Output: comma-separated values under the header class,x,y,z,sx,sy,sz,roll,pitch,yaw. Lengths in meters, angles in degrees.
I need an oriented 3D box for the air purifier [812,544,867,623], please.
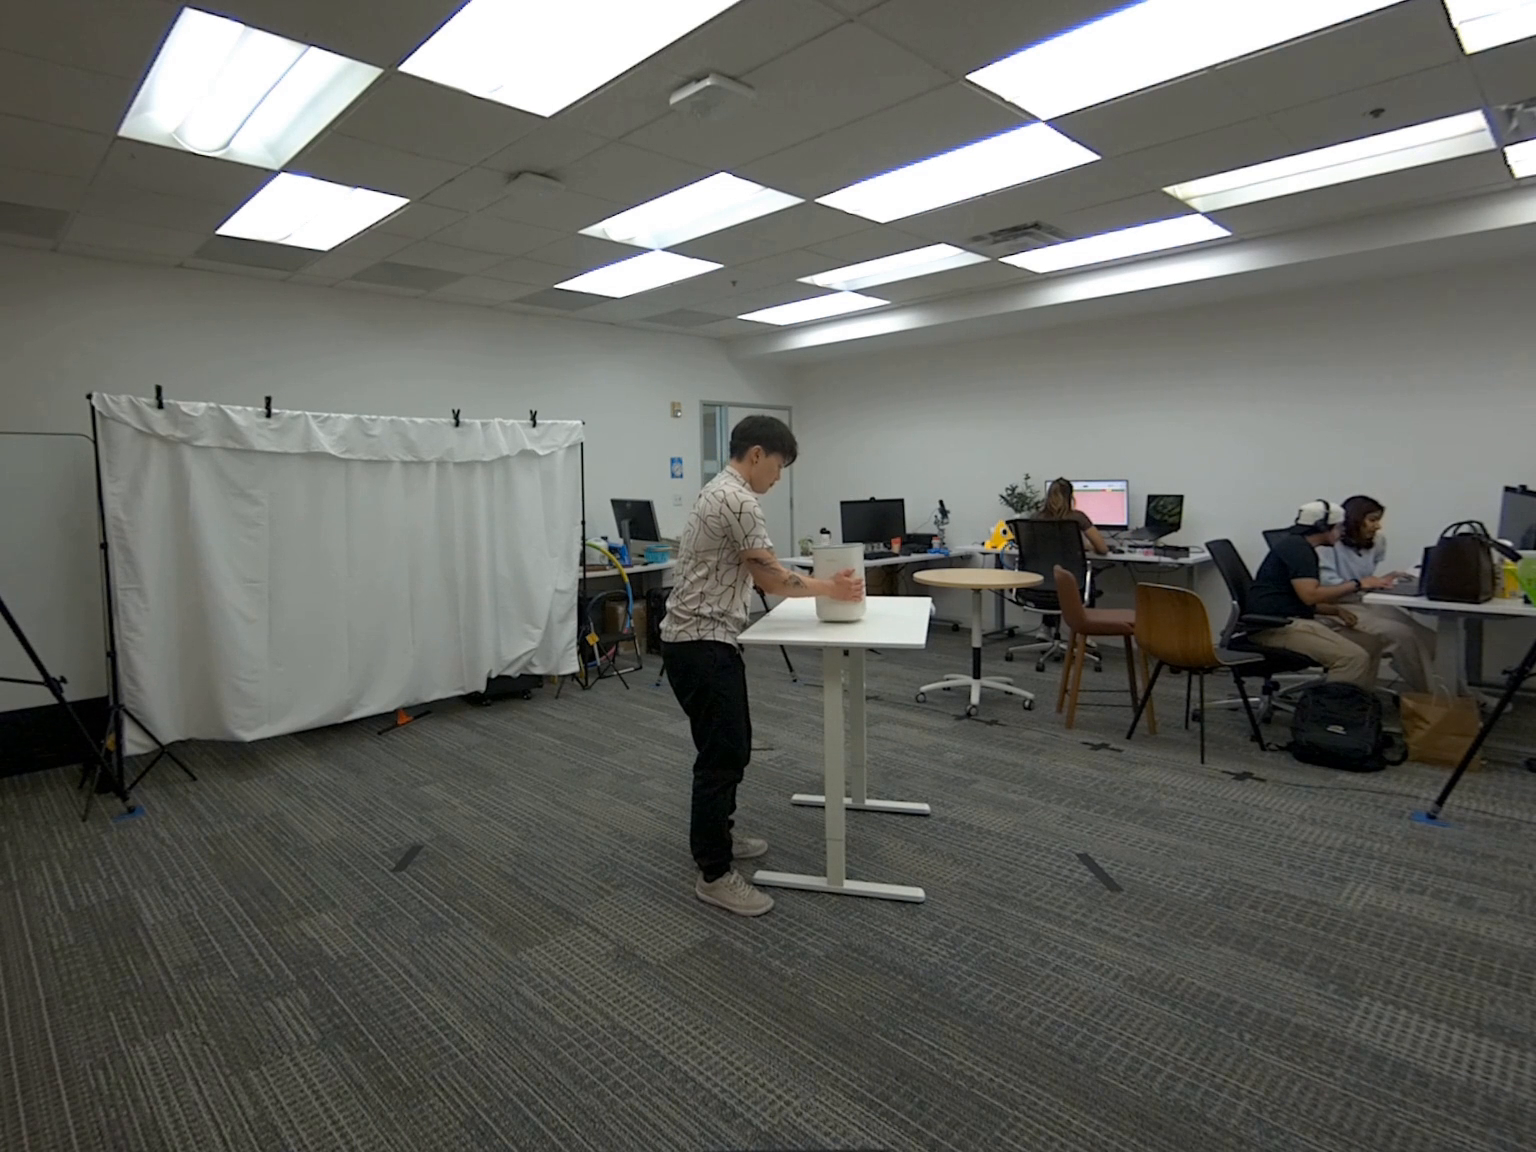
class,x,y,z,sx,sy,sz,roll,pitch,yaw
air purifier,0.258,0.023,3.085,0.173,0.265,0.169,-3,0,16
